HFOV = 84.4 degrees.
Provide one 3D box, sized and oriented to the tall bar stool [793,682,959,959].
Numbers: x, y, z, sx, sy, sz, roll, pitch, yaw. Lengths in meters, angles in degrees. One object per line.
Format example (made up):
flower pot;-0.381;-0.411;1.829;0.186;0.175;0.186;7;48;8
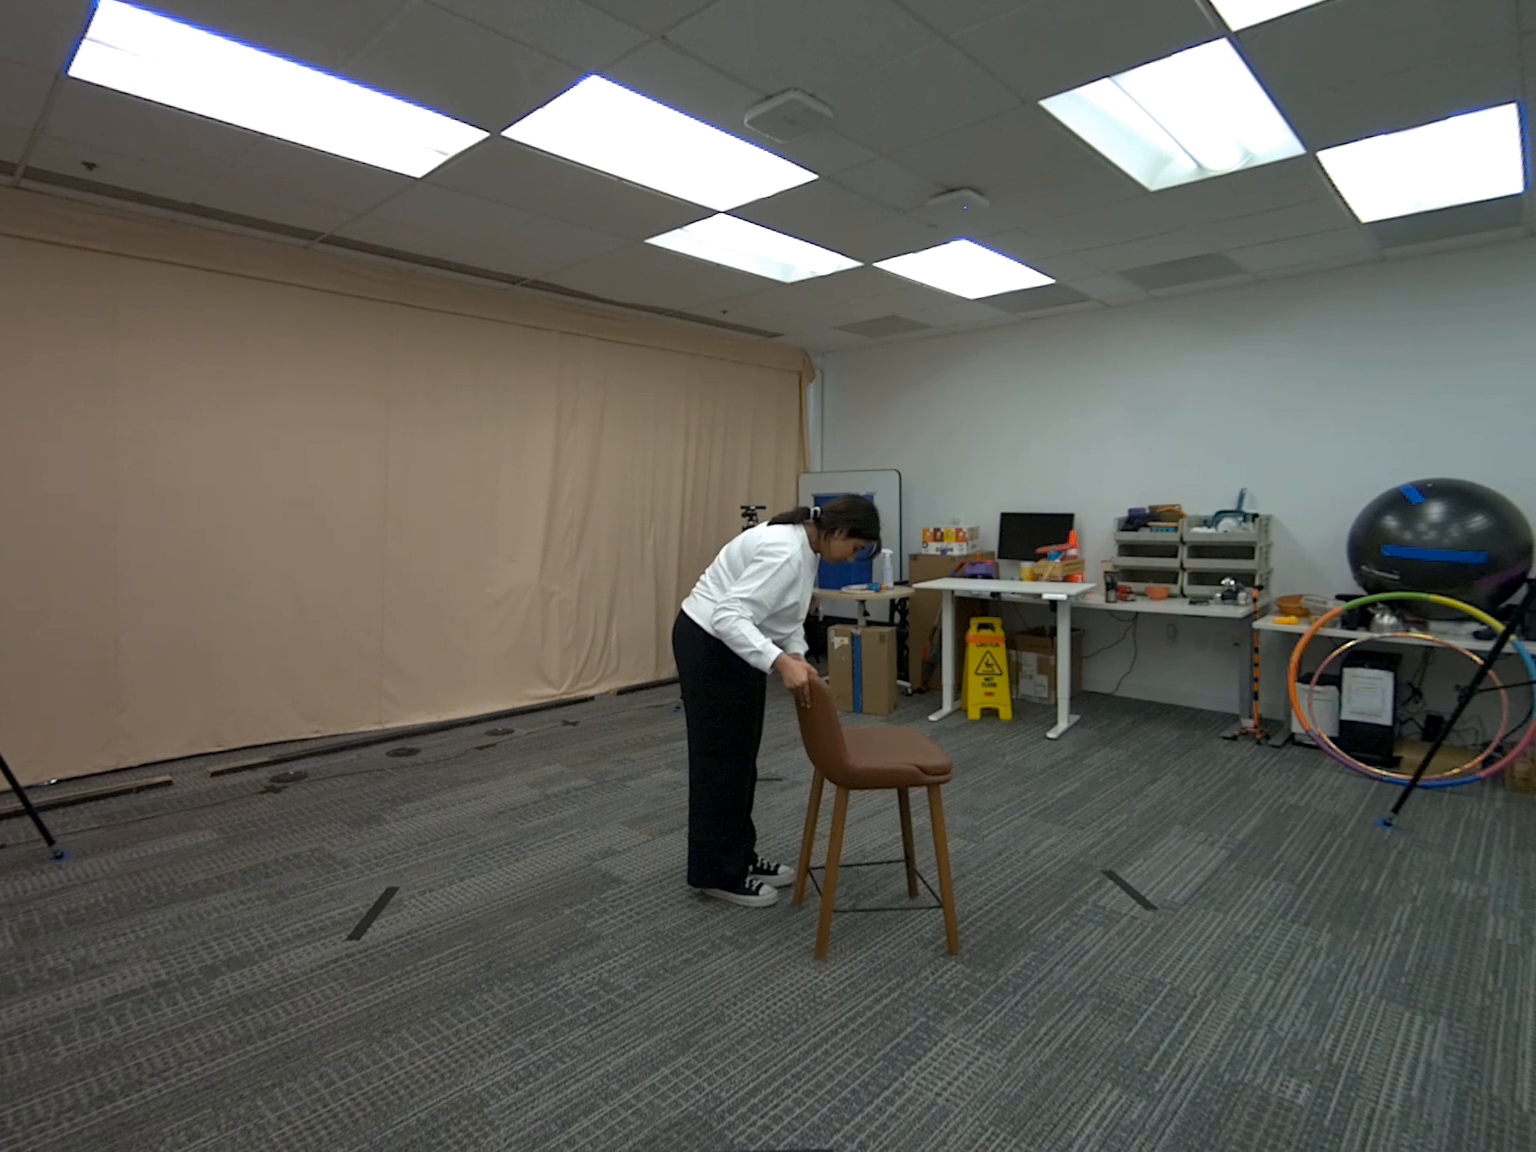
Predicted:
tall bar stool;0.342;0.726;2.751;0.463;0.887;0.462;-2;4;-9
